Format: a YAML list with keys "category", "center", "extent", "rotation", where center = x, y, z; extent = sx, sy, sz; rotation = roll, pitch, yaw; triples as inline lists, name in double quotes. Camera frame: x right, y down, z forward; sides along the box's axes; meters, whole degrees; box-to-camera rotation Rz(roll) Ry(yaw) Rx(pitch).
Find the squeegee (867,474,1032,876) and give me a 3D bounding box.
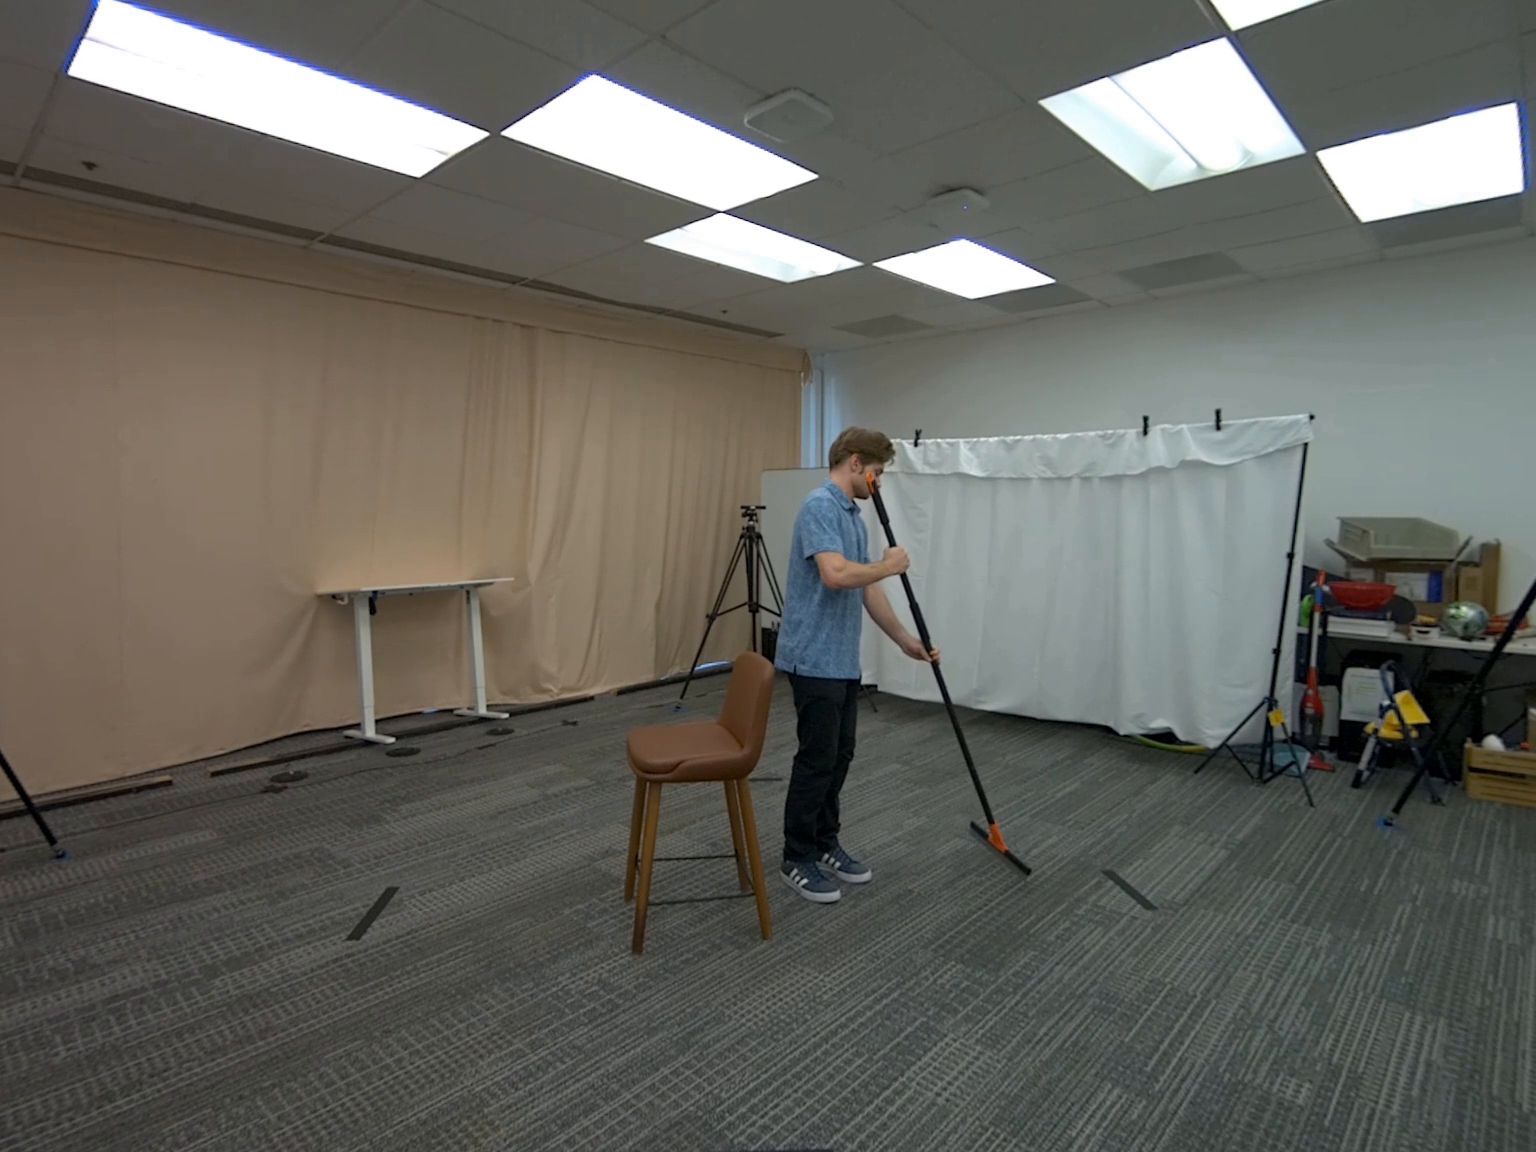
- category: "squeegee"
  center: [0.641, 0.365, 3.112]
  extent: [0.052, 1.523, 0.444]
  rotation: [-21, 10, -9]
